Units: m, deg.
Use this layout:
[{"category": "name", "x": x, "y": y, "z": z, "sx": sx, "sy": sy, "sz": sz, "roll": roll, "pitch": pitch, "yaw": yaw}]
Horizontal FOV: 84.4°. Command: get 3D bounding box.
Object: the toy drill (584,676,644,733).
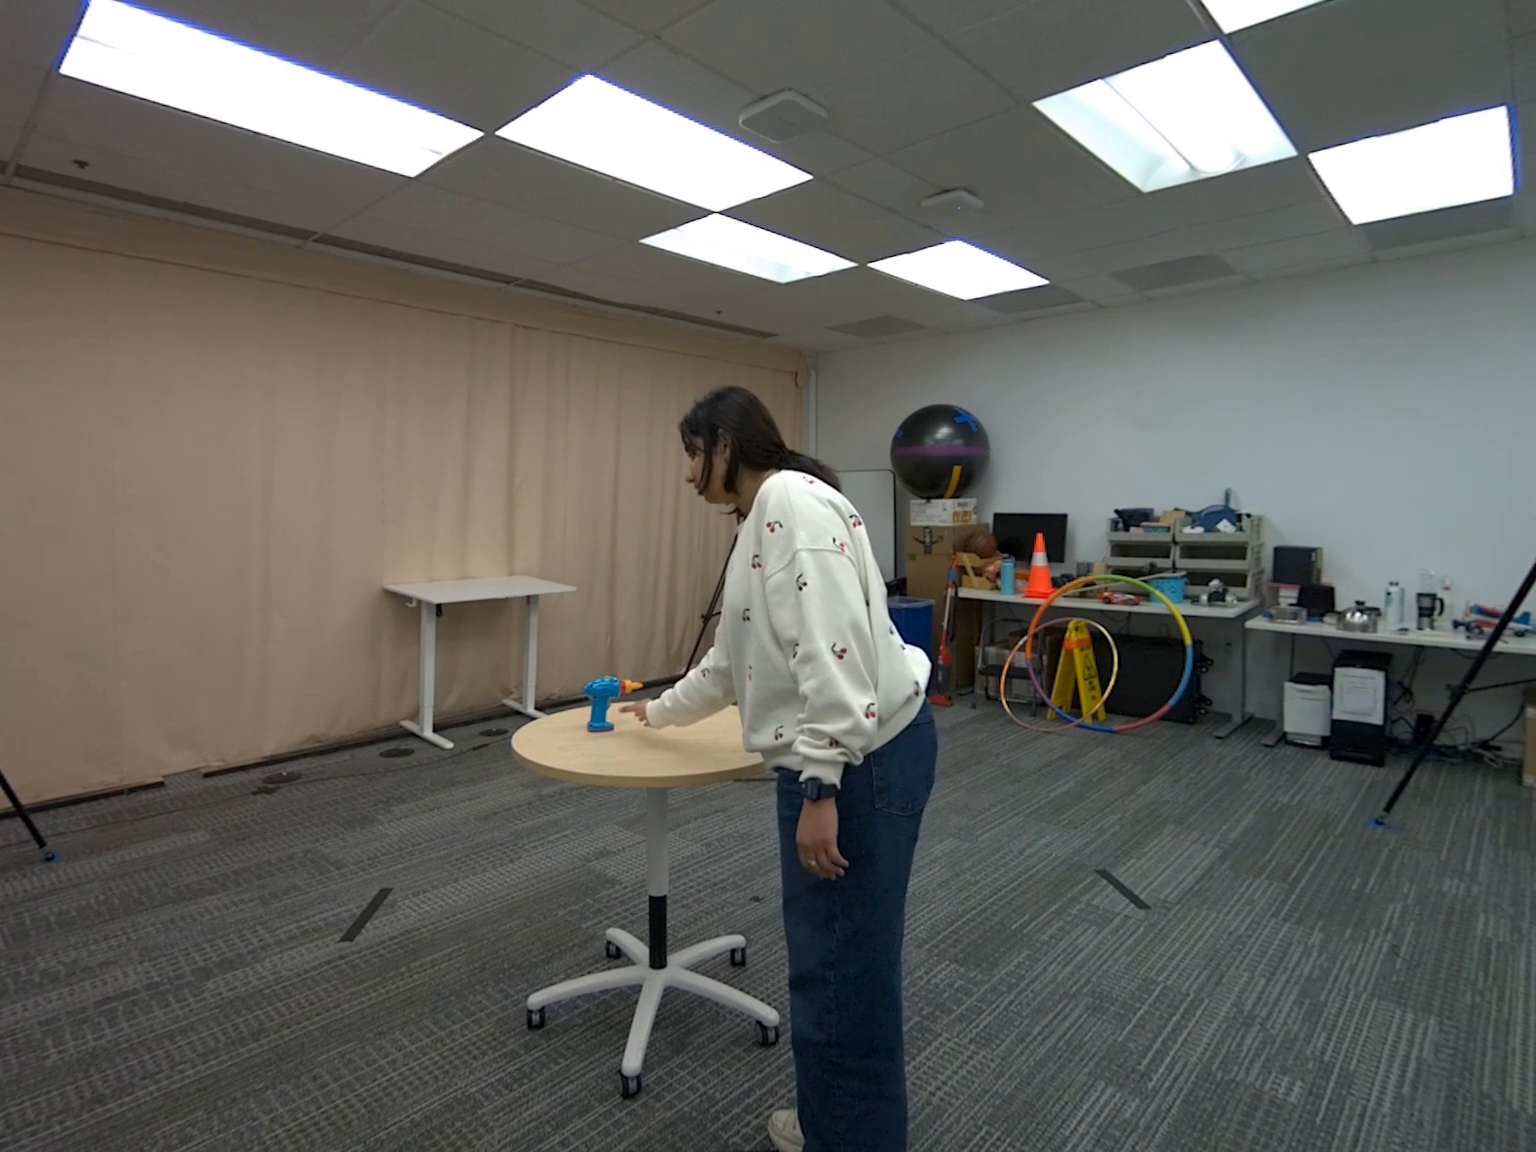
[{"category": "toy drill", "x": -0.421, "y": 0.347, "z": 2.307, "sx": 0.165, "sy": 0.146, "sz": 0.063, "roll": -1, "pitch": 1, "yaw": -26}]
